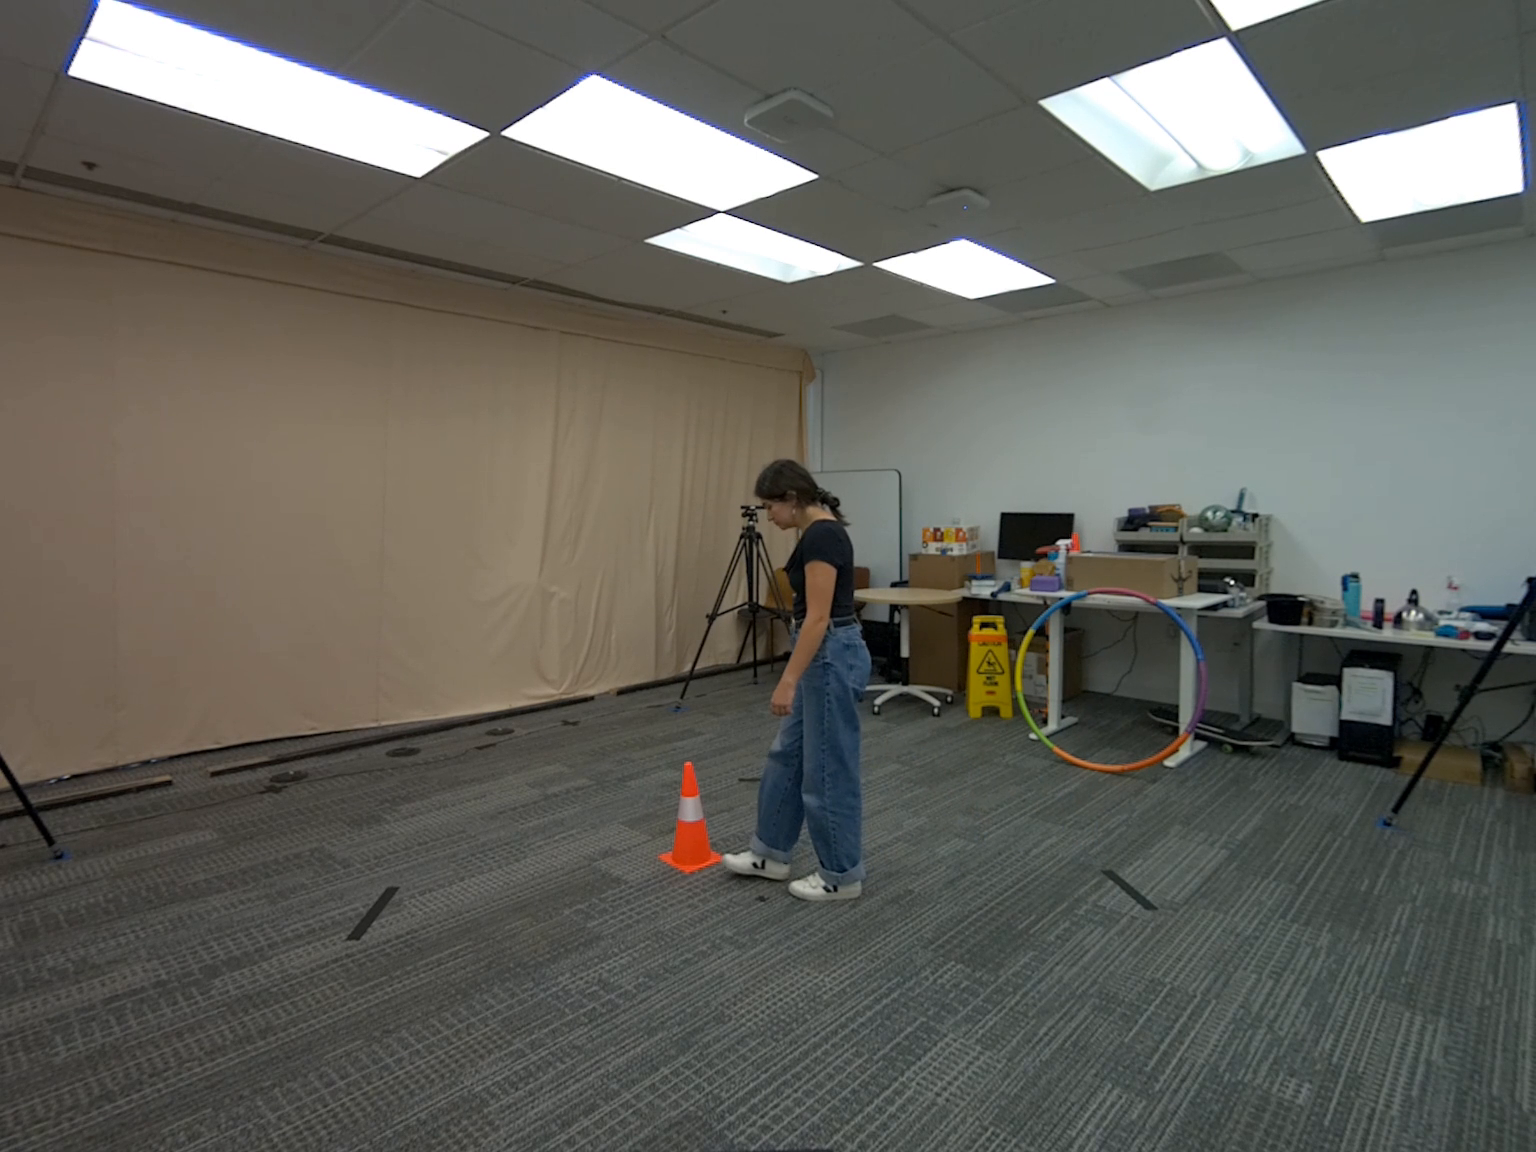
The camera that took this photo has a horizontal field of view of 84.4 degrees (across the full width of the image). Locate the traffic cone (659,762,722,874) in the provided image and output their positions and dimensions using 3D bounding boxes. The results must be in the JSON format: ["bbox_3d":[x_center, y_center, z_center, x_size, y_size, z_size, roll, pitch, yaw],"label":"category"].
[{"bbox_3d":[-0.306,0.932,3.321,0.197,0.383,0.212,-5,4,-44],"label":"traffic cone"}]
